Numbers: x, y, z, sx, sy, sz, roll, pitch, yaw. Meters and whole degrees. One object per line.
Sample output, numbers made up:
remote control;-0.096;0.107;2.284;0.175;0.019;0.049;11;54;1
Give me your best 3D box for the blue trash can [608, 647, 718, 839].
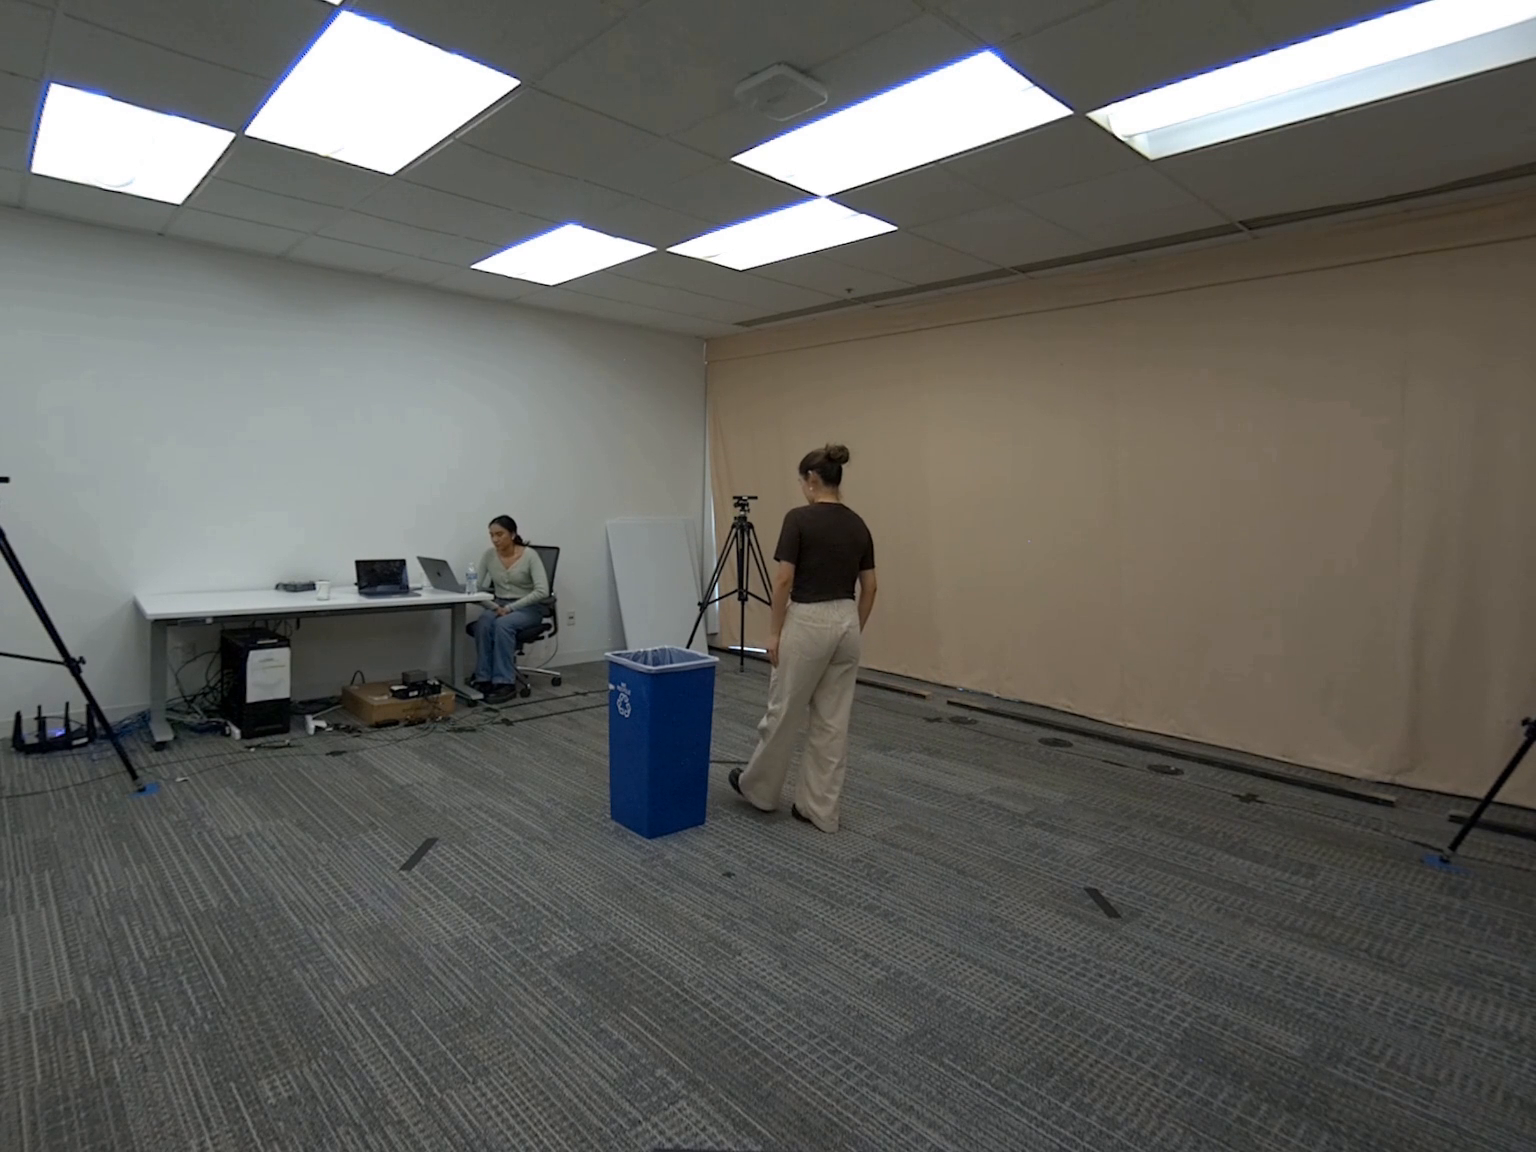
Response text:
blue trash can;-0.472;0.694;3.583;0.365;0.712;0.388;-1;4;-41
